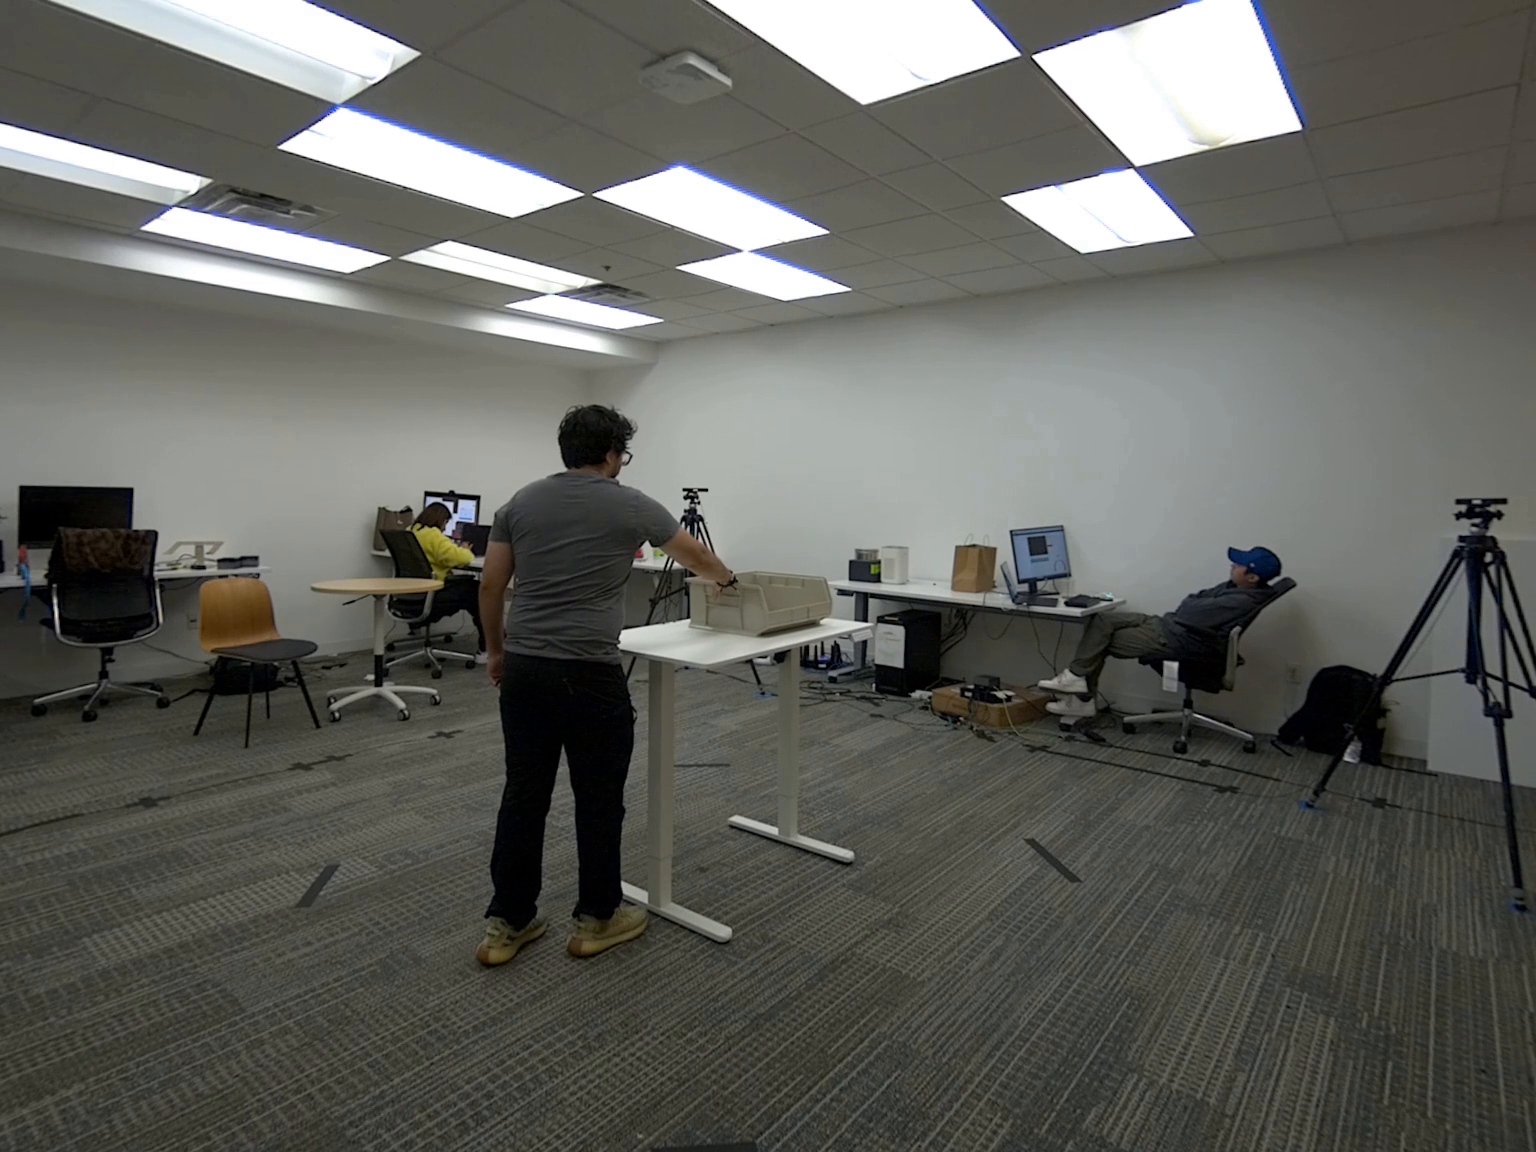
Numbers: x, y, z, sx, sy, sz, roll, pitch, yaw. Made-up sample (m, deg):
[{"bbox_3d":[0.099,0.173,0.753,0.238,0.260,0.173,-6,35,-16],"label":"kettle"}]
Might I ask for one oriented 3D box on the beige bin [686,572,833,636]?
[{"bbox_3d":[-0.037,0.095,3.157,0.389,0.188,0.410,3,6,38],"label":"beige bin"}]
